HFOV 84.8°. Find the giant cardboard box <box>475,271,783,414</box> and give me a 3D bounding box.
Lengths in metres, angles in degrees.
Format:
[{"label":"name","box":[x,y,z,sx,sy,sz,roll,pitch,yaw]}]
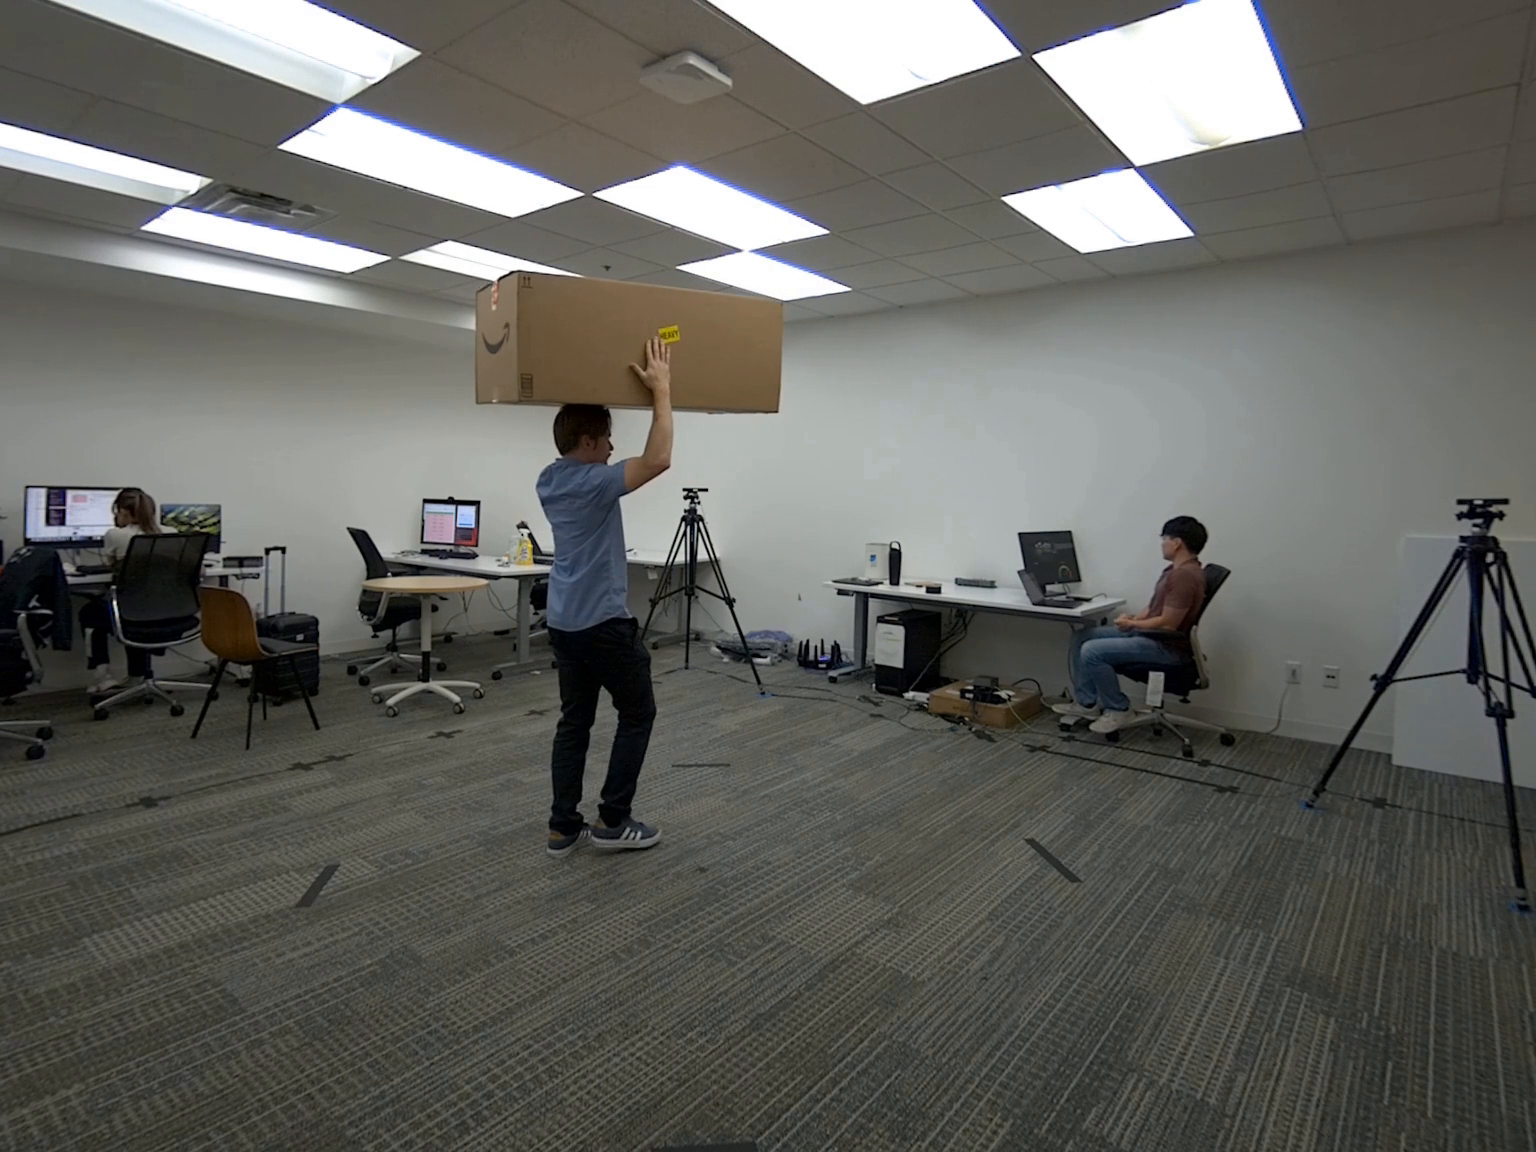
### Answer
[{"label":"giant cardboard box","box":[-0.541,-0.853,3.234,0.999,0.423,0.597,-3,10,-30]}]
